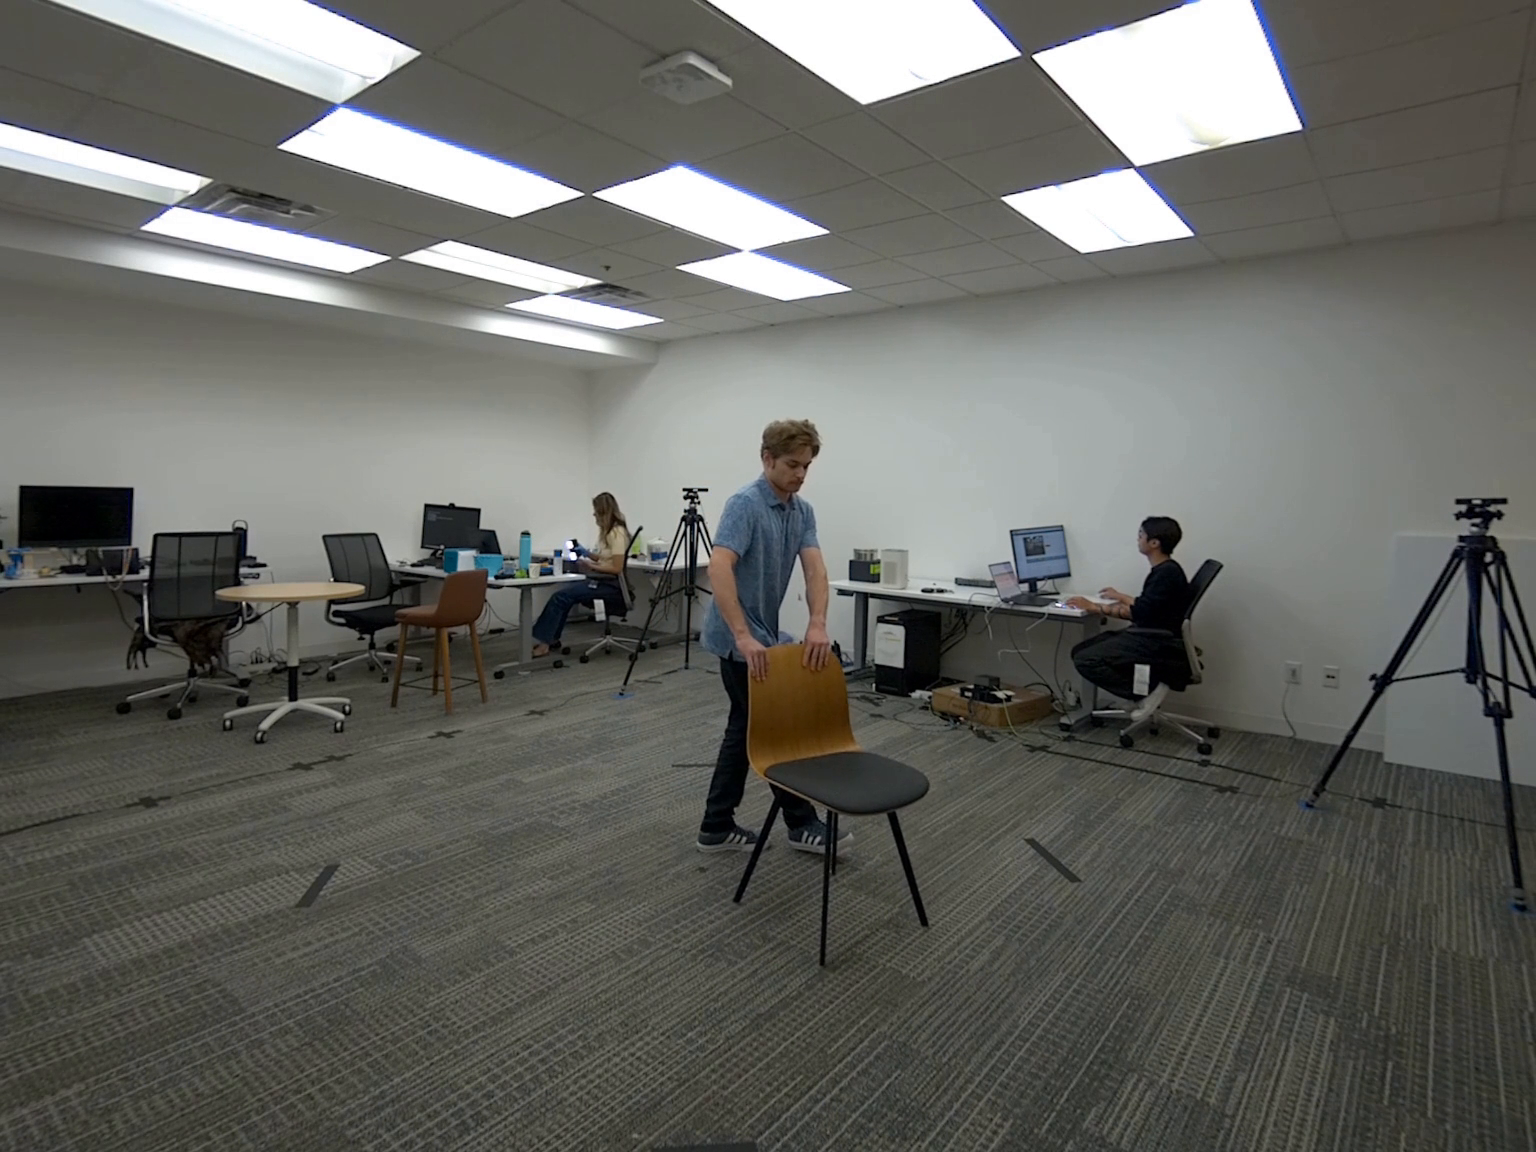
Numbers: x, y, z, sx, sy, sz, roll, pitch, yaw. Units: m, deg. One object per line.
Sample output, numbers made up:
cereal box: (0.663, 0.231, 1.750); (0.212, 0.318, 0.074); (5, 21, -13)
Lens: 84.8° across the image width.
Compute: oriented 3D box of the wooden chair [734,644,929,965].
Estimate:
wooden chair: (0.212, 0.682, 2.763); (0.464, 0.878, 0.538); (-1, 0, -36)
